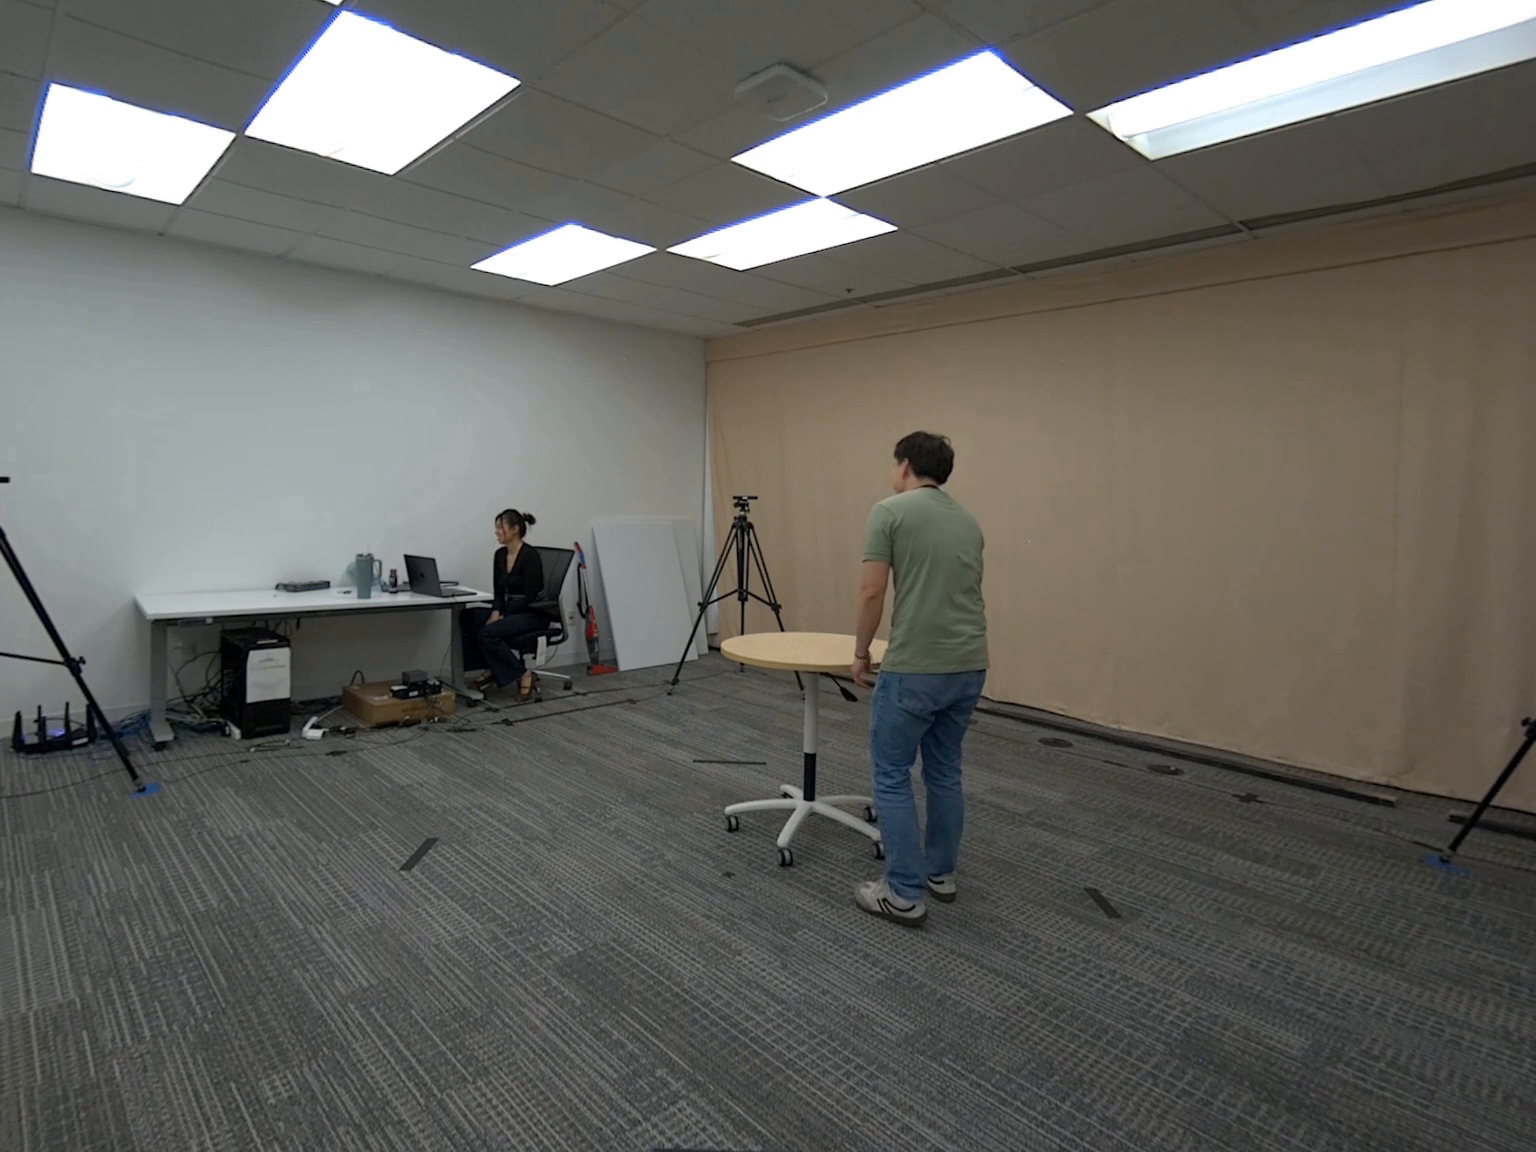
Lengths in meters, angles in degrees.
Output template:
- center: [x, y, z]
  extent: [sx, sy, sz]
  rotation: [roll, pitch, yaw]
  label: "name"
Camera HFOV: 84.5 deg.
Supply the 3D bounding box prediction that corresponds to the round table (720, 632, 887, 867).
- center: [0.173, 0.687, 3.498]
  extent: [0.763, 0.792, 0.766]
  rotation: [2, 4, -1]
  label: "round table"
